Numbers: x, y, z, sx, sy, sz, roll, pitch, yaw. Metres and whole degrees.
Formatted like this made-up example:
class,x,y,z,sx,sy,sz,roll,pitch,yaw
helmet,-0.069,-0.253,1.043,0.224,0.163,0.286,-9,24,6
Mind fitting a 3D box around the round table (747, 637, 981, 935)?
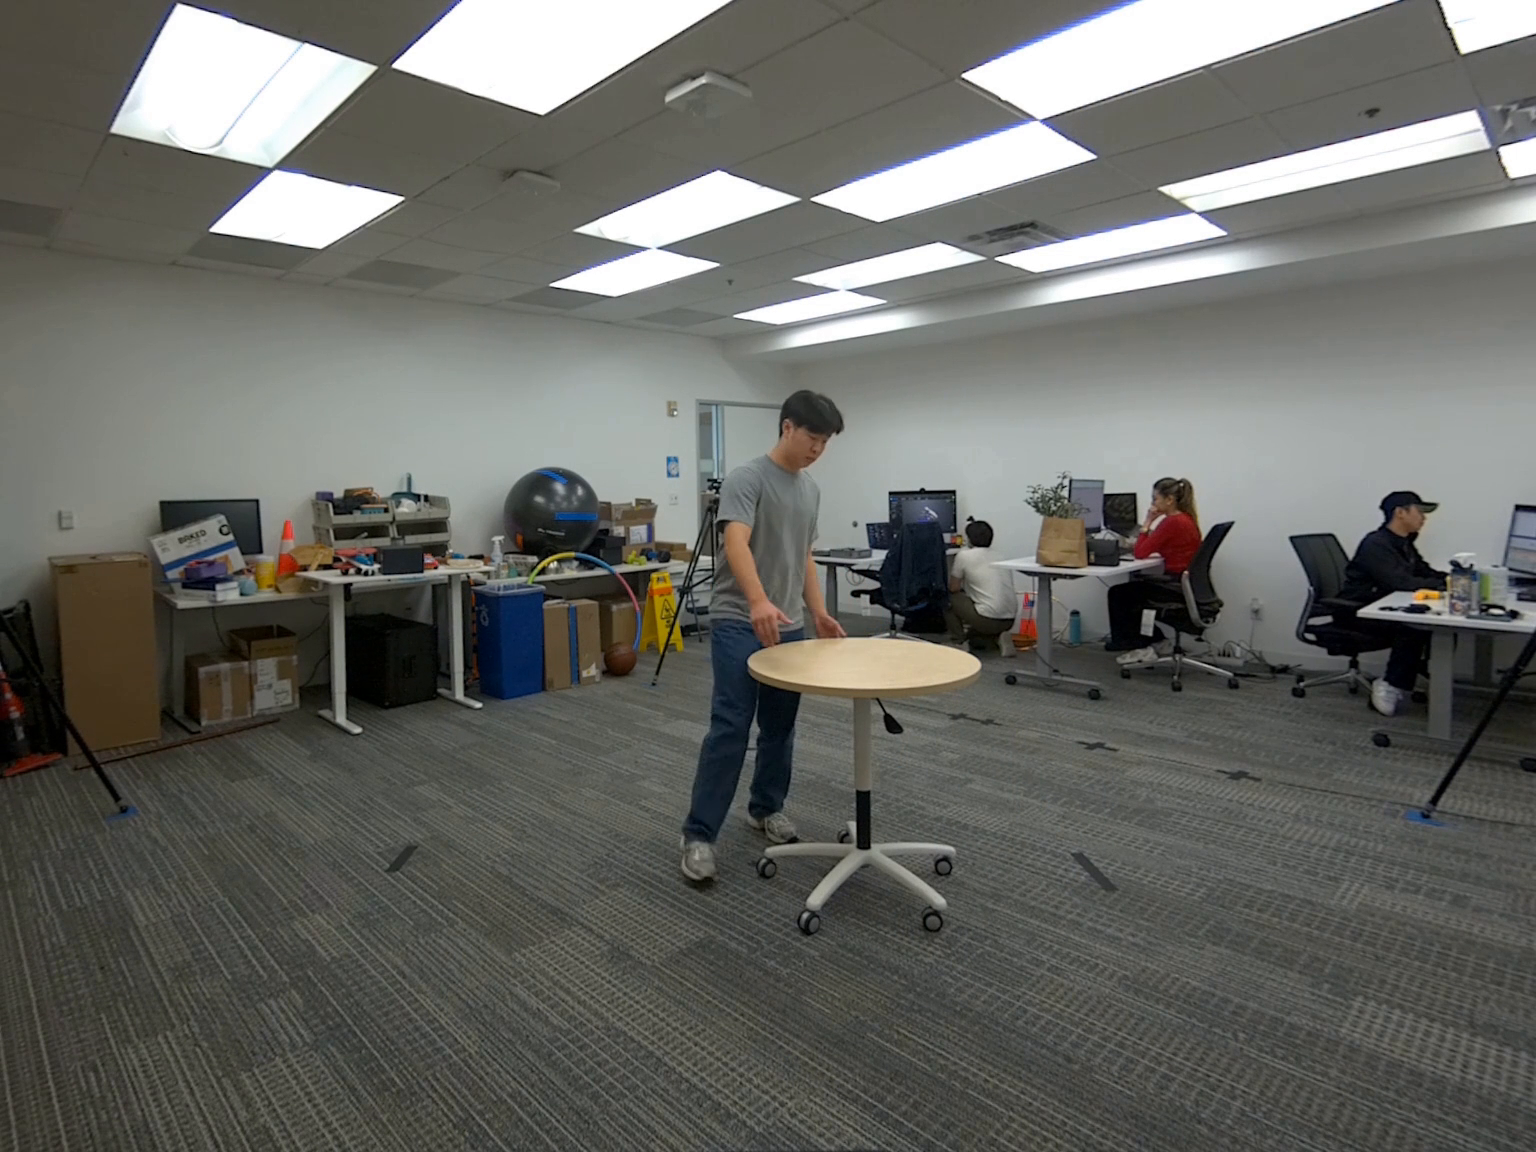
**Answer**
class,x,y,z,sx,sy,sz,roll,pitch,yaw
round table,0.329,0.673,2.883,0.763,0.790,0.768,-1,5,-2
